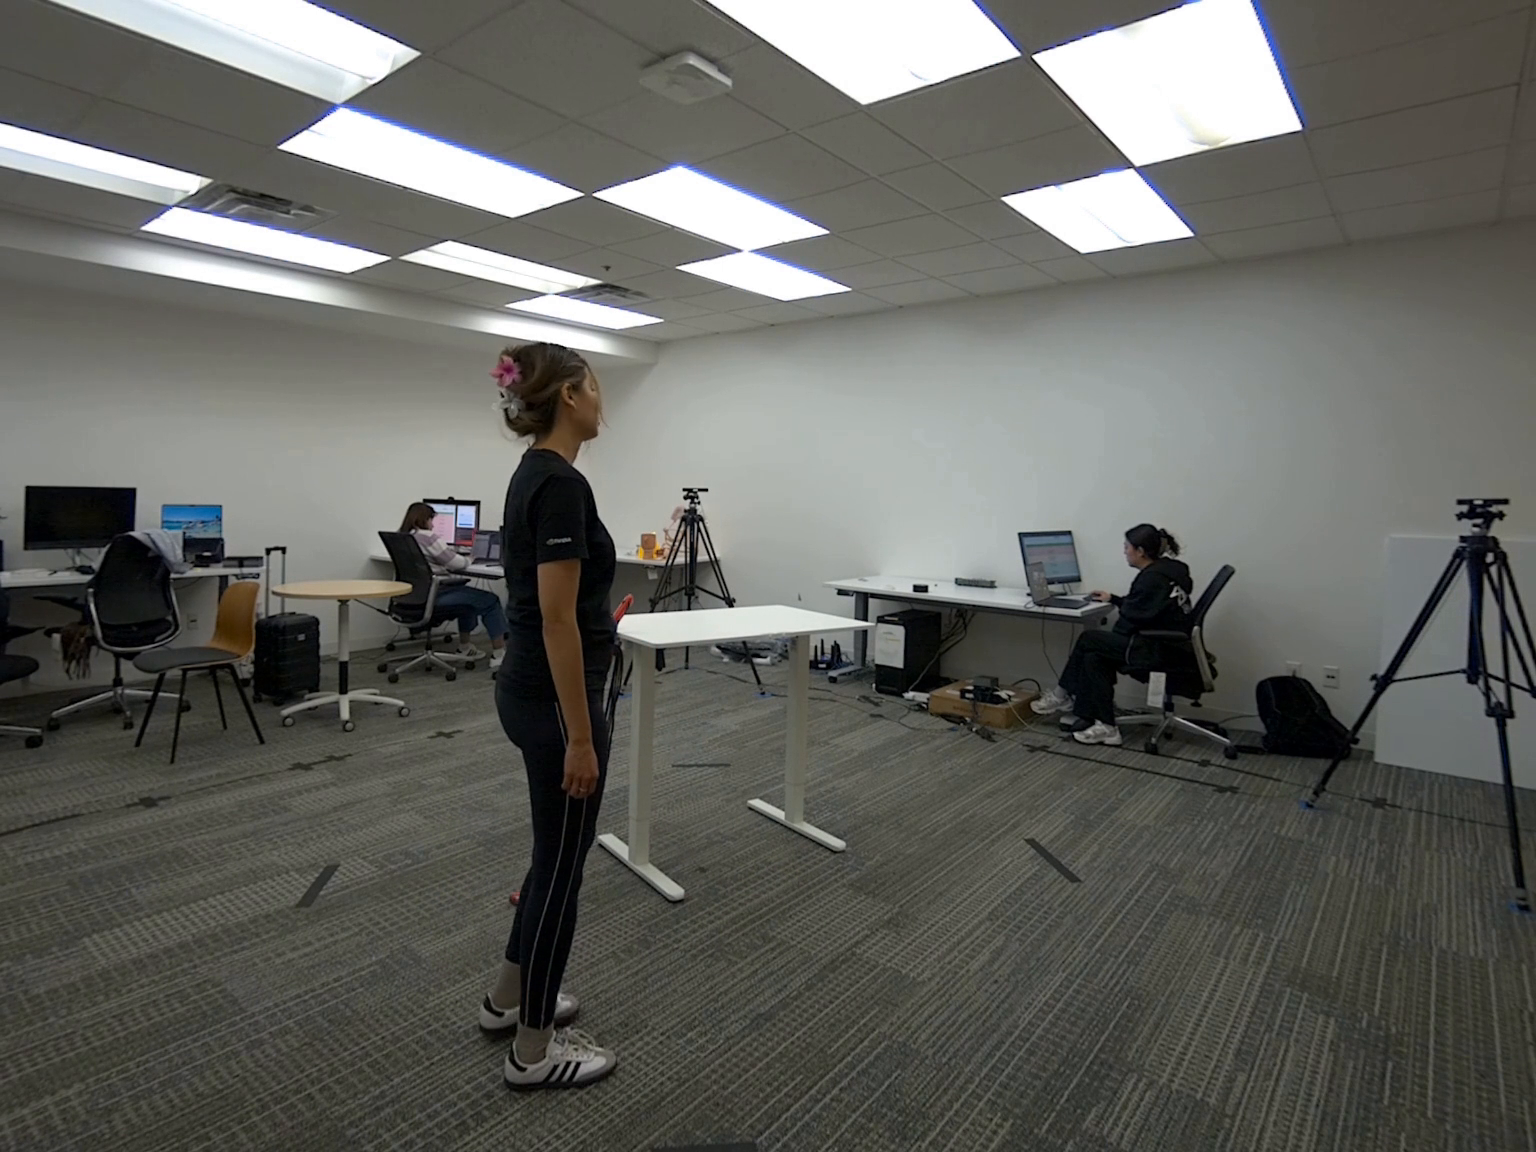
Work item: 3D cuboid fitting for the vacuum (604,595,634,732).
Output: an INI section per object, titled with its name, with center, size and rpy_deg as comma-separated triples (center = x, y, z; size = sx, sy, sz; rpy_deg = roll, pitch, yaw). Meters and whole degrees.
[vacuum]
center = -0.618, 0.590, 2.895
size = 0.261, 1.057, 0.138
rpy_deg = 6, -13, 36
